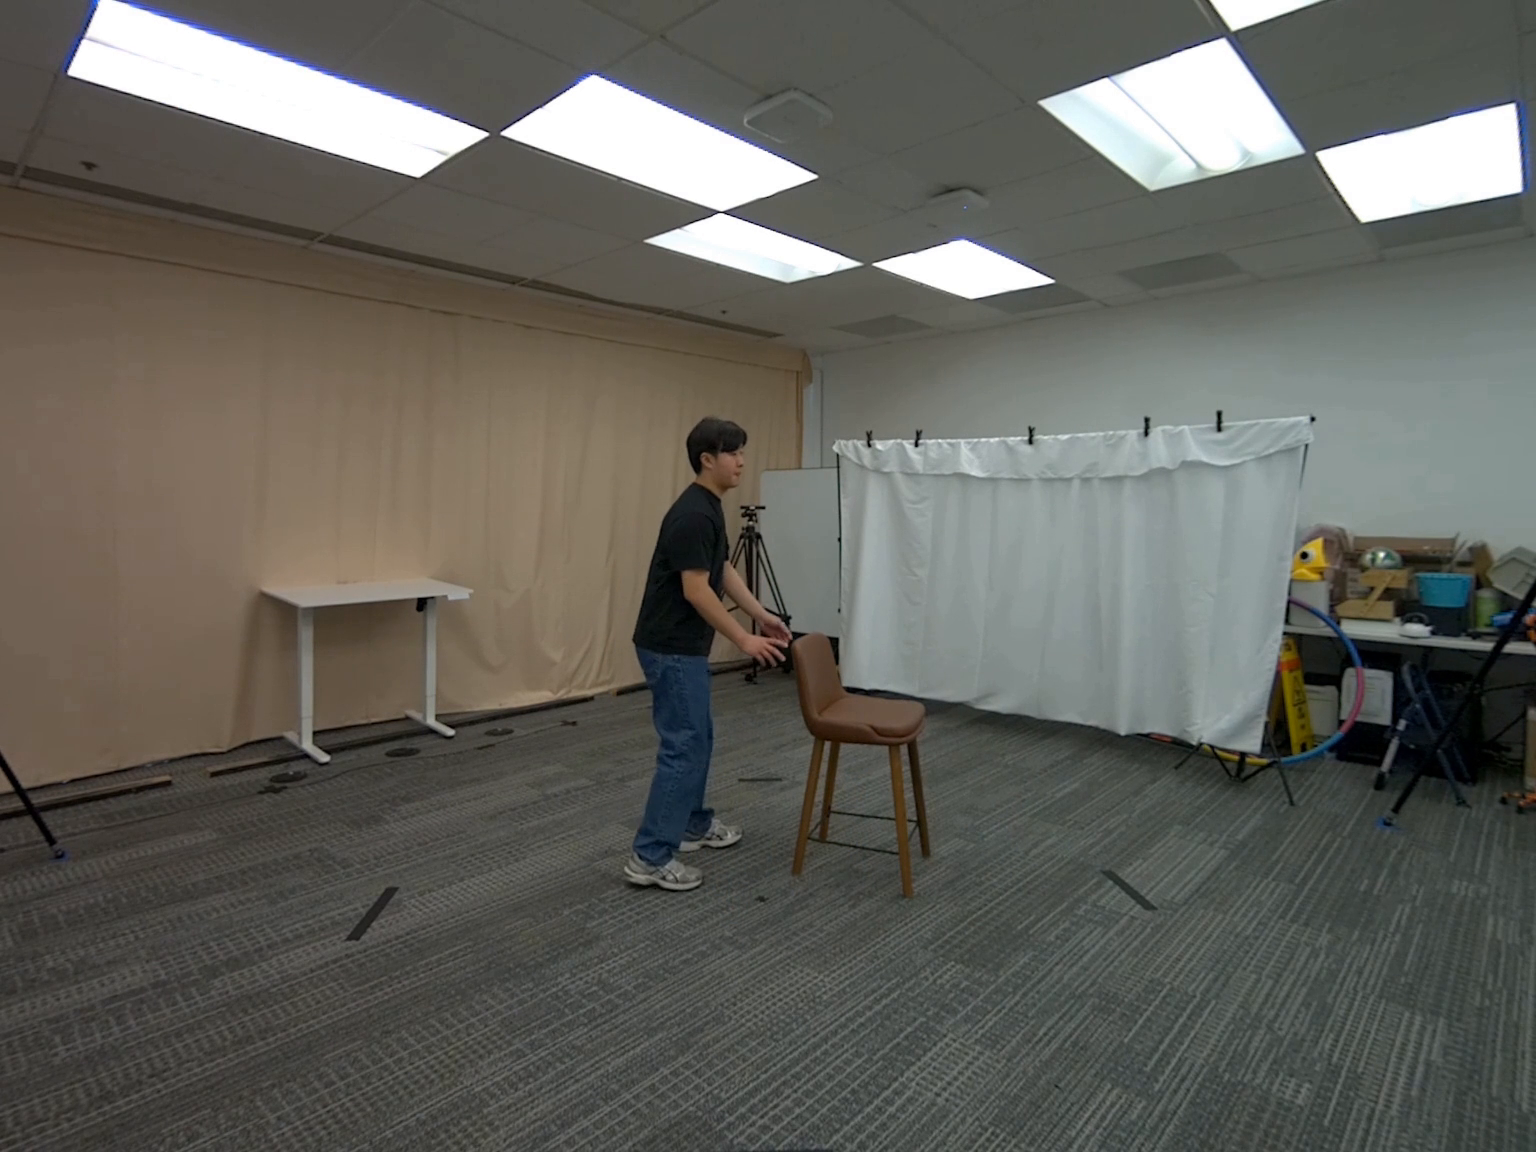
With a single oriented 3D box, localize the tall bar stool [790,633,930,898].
[{"bbox_3d":[0.362,0.685,3.233,0.479,0.889,0.446,-1,2,23],"label":"tall bar stool"}]
